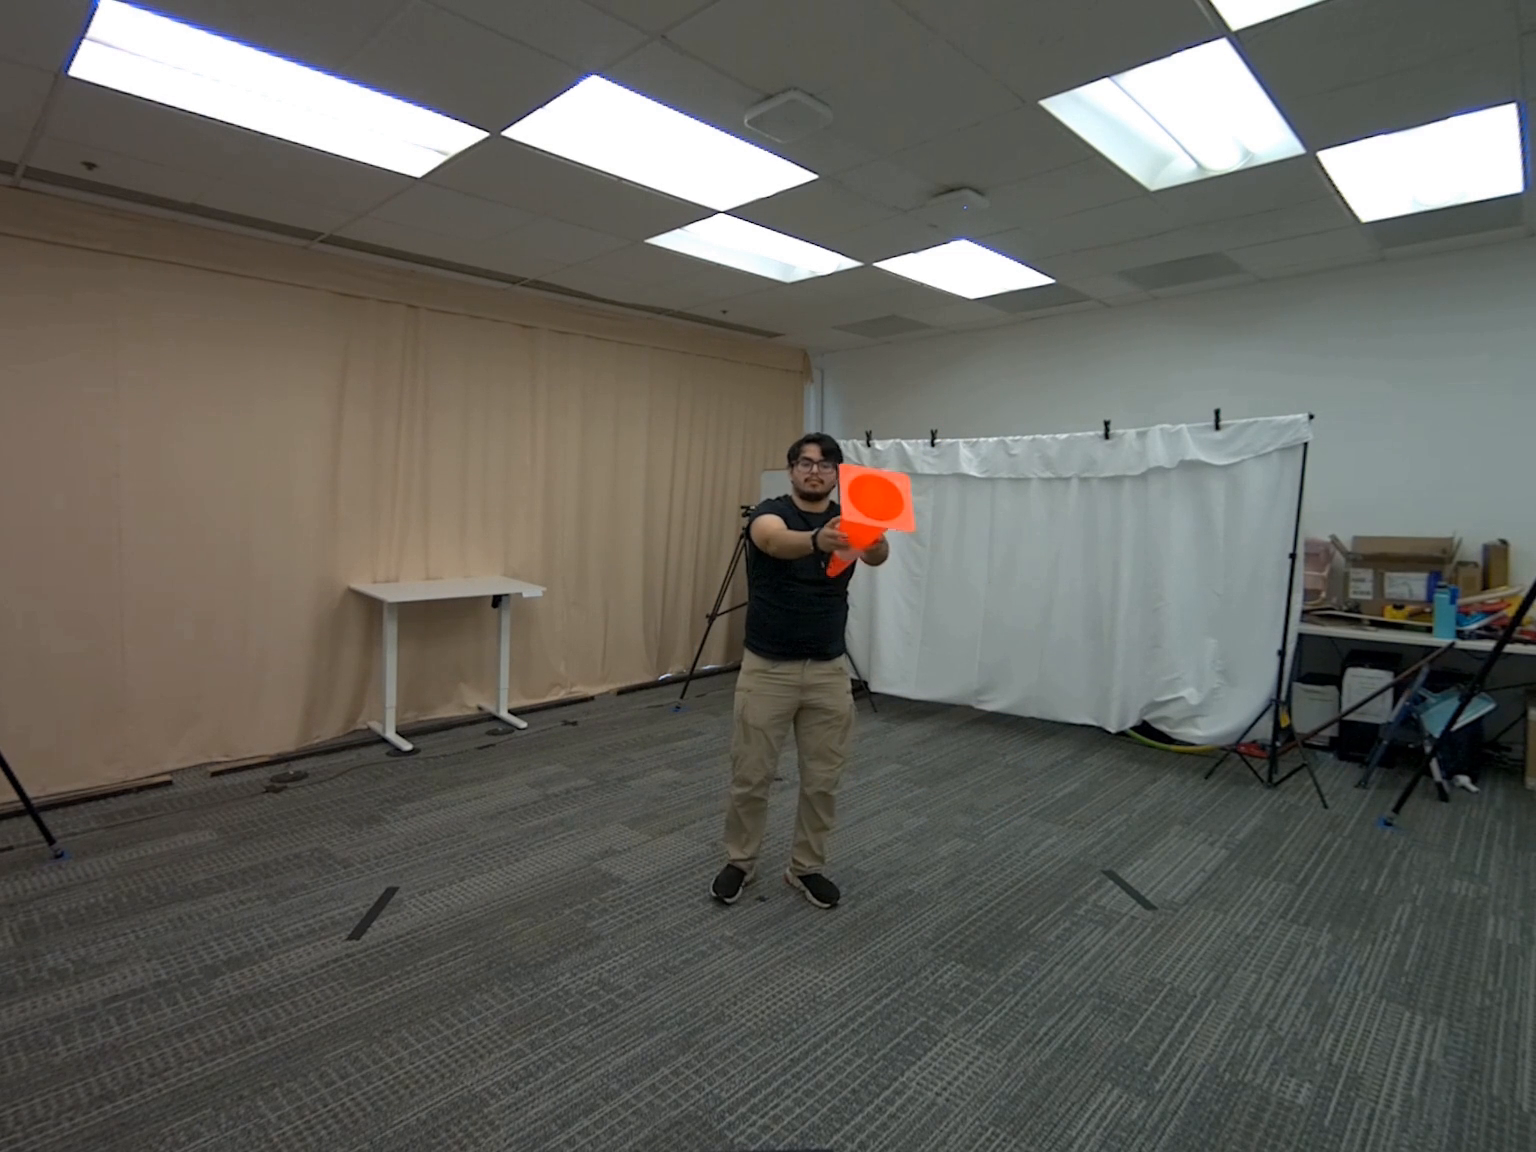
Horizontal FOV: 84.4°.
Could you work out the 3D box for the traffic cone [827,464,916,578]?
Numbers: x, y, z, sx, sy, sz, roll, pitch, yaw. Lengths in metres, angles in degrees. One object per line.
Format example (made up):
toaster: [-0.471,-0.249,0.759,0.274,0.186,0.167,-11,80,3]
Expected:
traffic cone: [0.228,-0.104,2.378,0.203,0.206,0.382,14,-35,-8]
